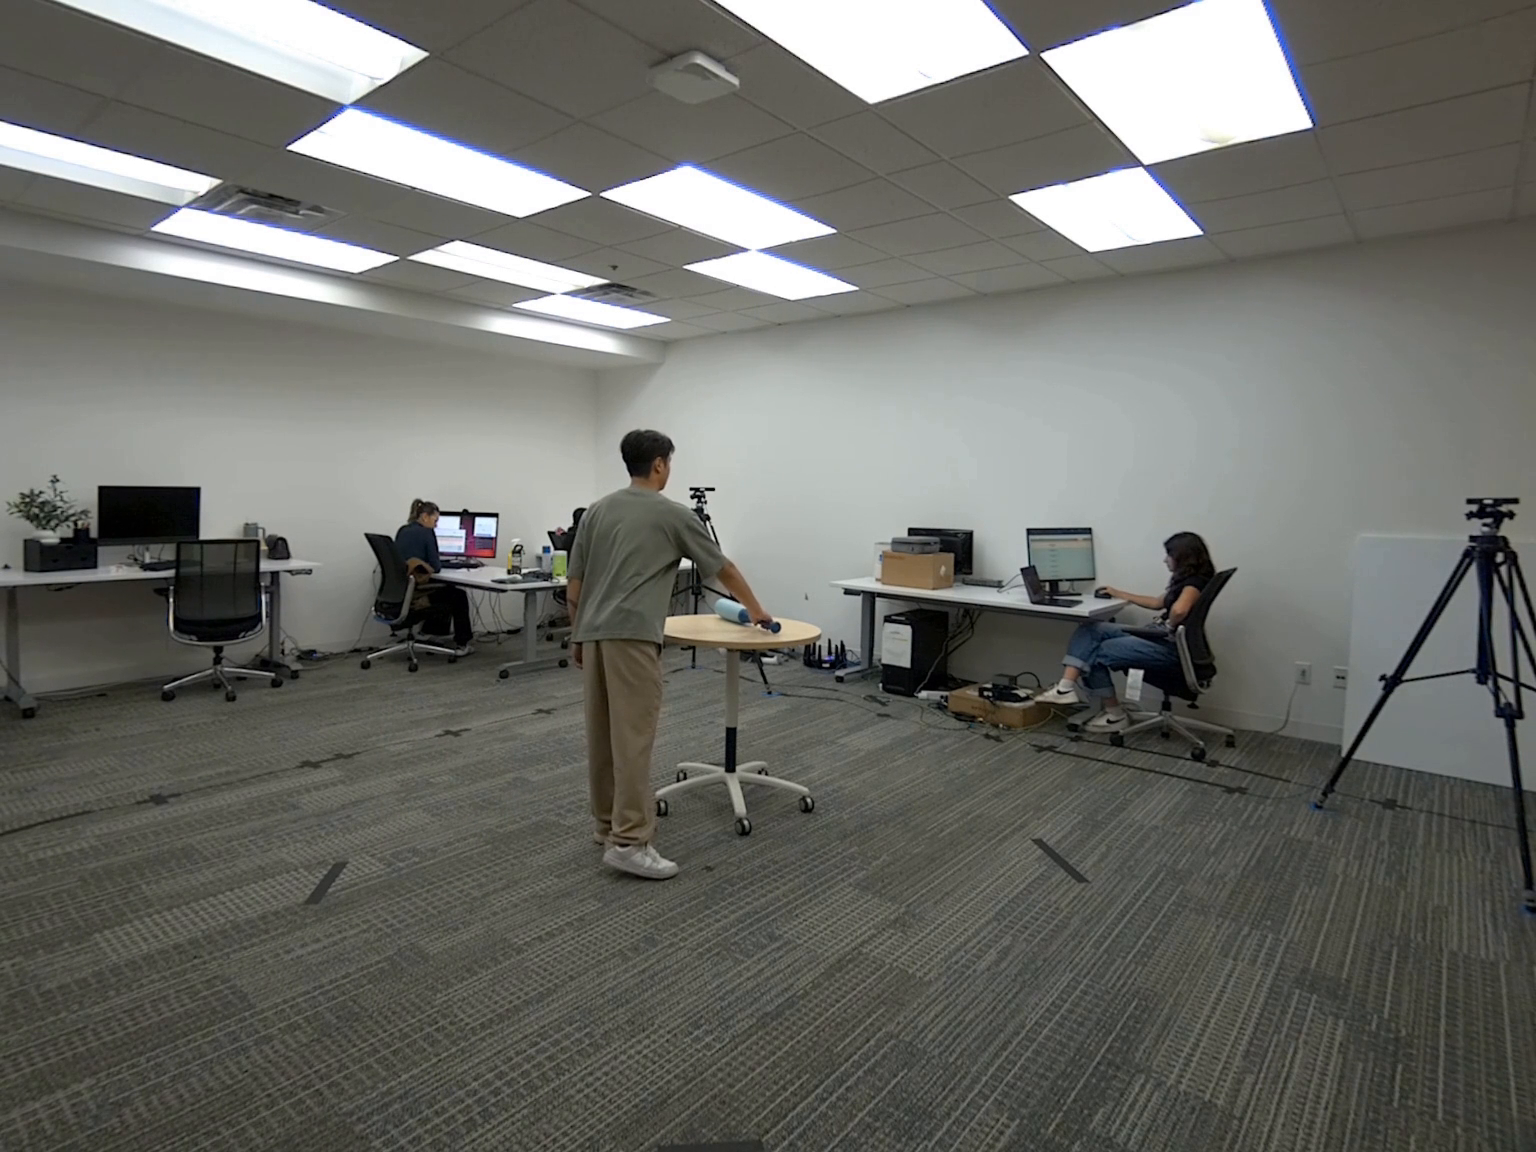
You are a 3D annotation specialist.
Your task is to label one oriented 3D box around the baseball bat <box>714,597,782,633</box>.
[{"bbox_3d":[-0.107,0.177,3.788,0.087,0.088,0.560,-1,8,-27],"label":"baseball bat"}]
